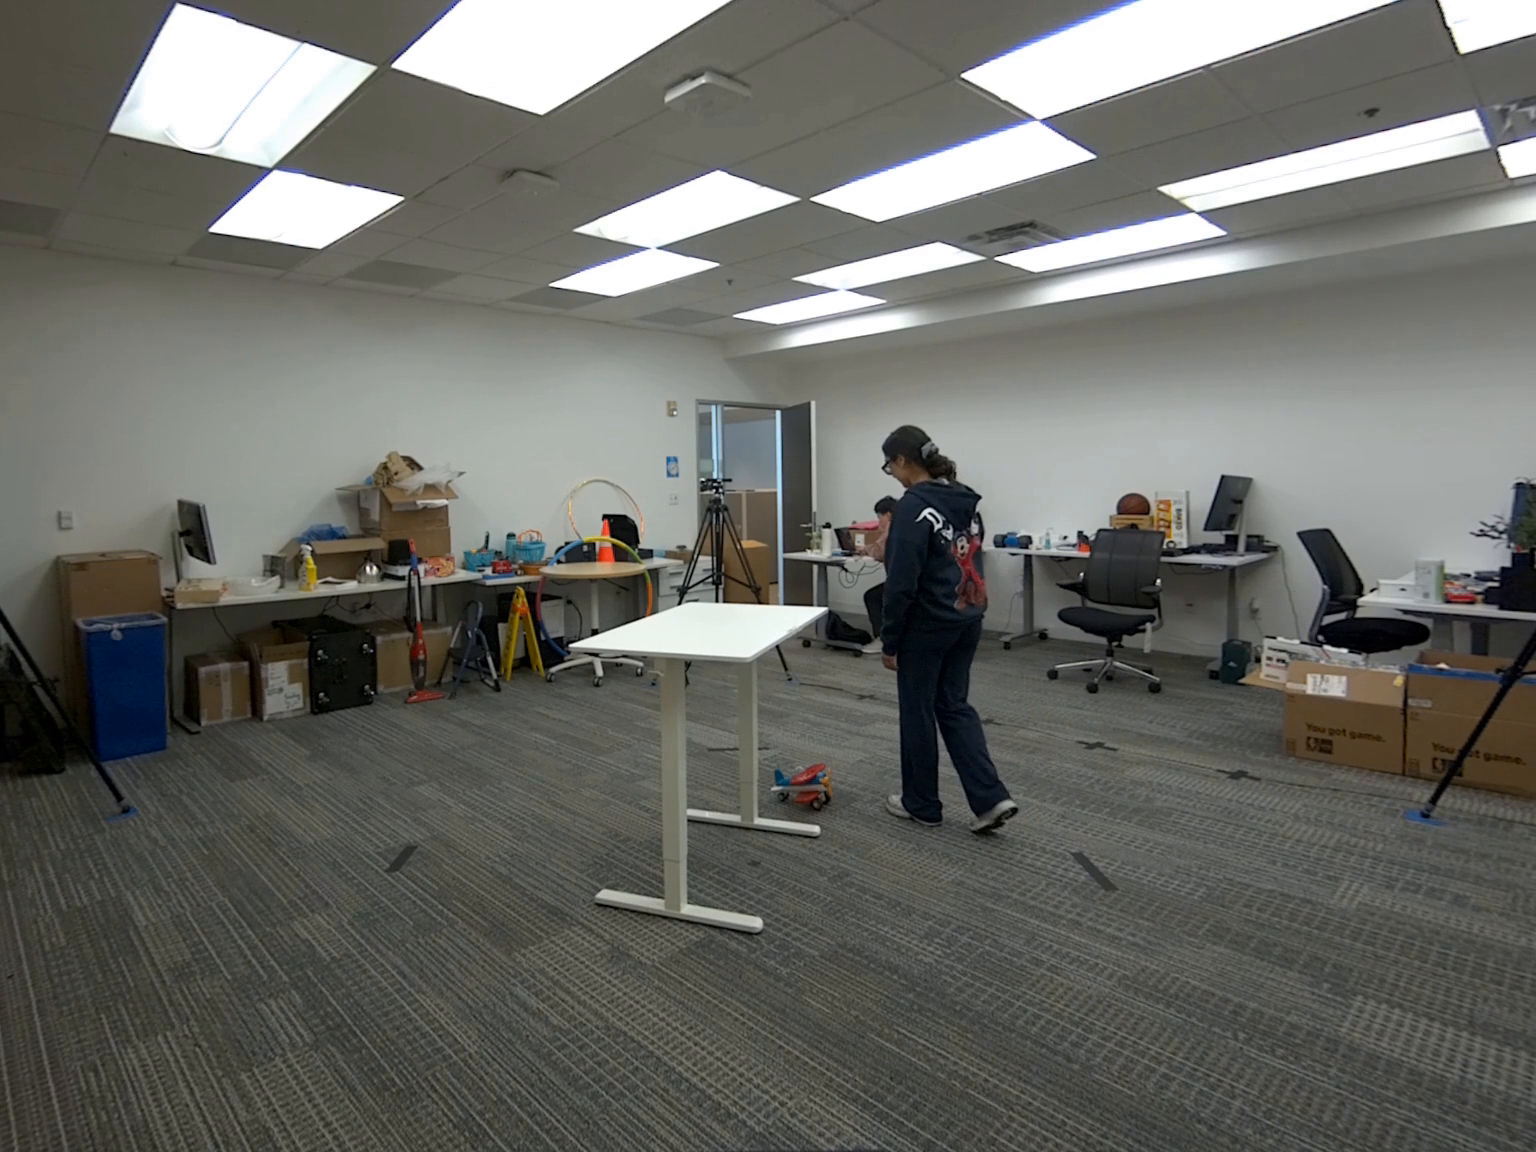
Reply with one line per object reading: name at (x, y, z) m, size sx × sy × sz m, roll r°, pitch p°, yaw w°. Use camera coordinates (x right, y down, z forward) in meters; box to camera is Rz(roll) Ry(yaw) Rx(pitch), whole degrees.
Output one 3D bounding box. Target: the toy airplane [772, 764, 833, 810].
toy airplane at (0.149, 0.906, 3.650) m, size 0.260 × 0.156 × 0.252 m, roll 0°, pitch 6°, yaw 1°
